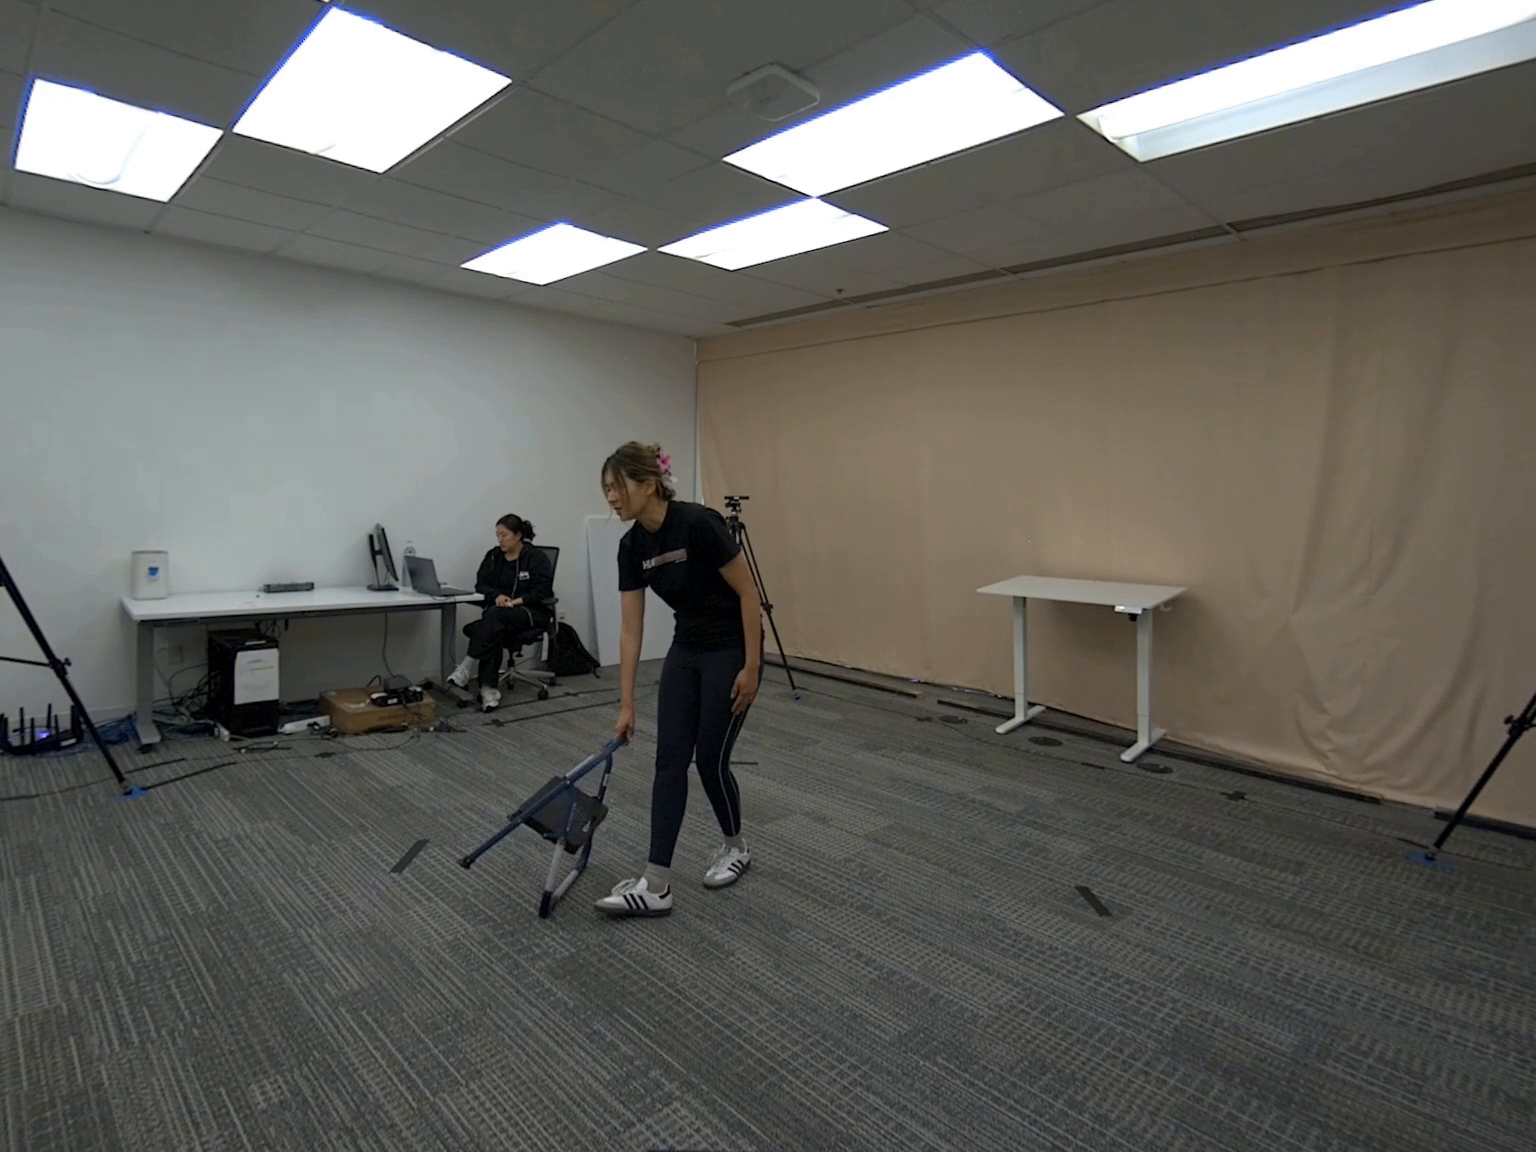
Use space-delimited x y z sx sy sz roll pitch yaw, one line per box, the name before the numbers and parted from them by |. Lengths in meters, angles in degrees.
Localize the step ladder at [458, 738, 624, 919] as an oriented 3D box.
step ladder | -0.711 0.773 2.927 0.351 0.605 0.429 31 8 5
